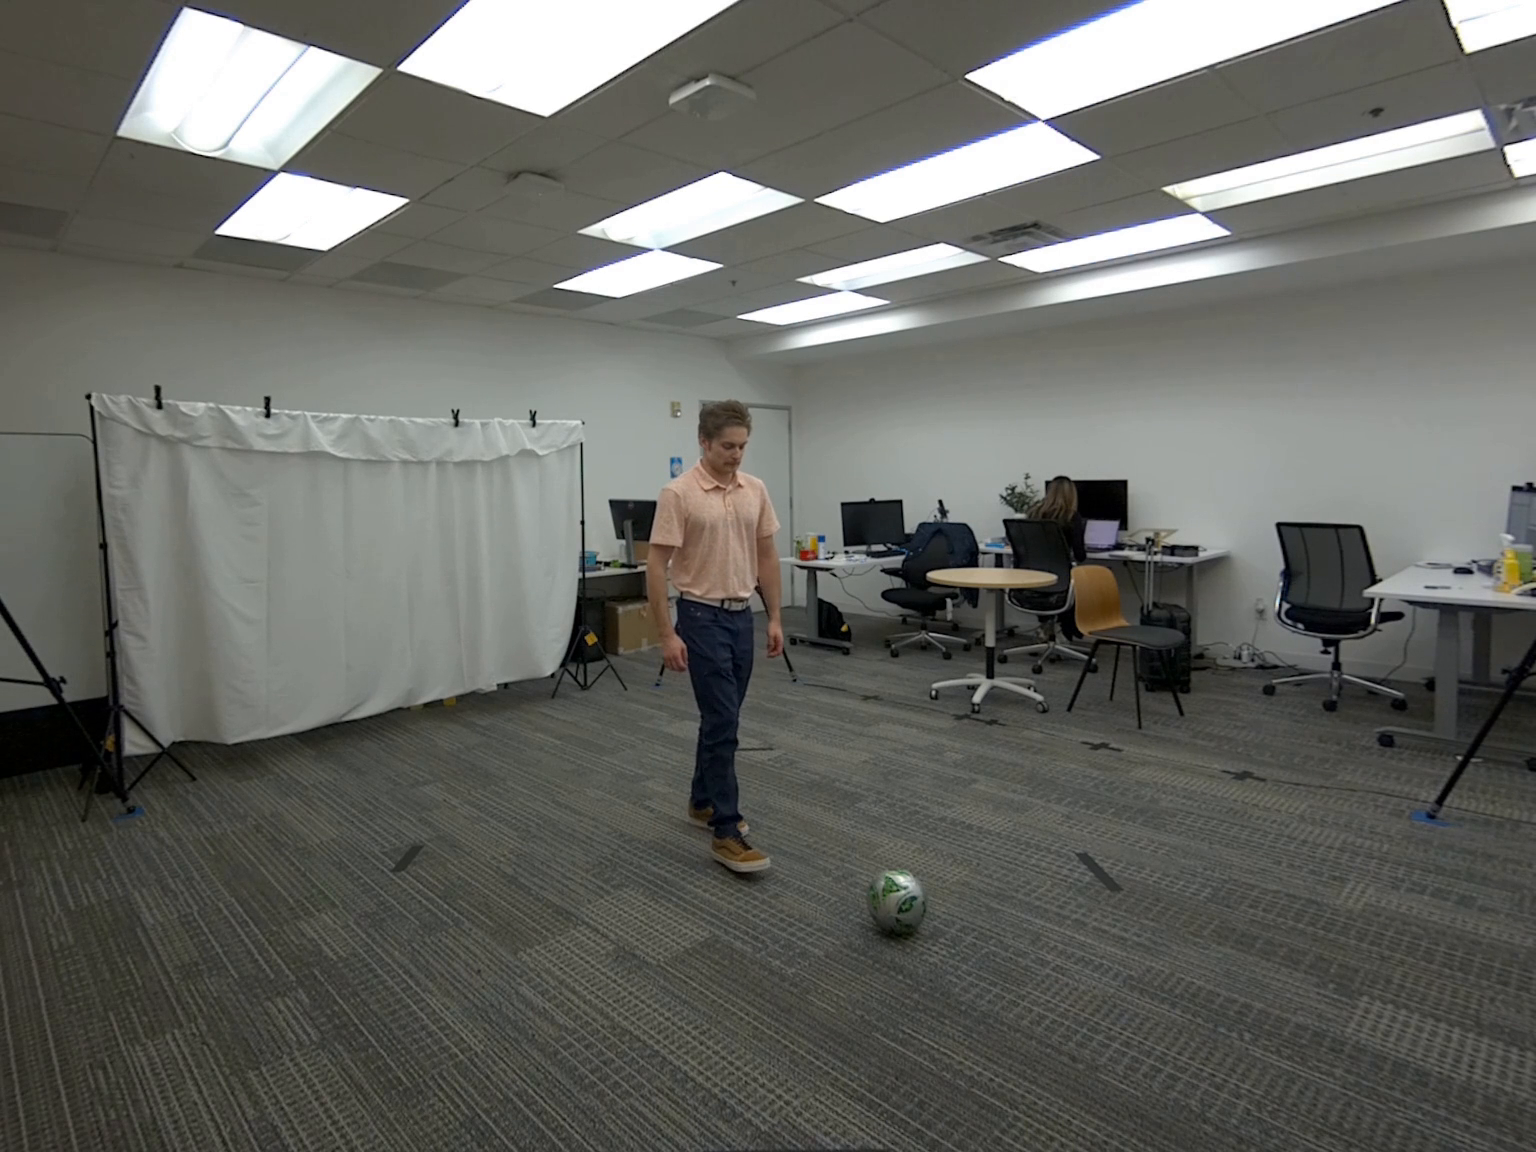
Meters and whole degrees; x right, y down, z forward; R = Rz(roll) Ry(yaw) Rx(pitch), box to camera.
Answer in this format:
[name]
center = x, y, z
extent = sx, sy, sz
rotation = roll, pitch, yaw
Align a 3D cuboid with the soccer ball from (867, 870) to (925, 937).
[soccer ball]
center = 0.403, 1.001, 2.631
extent = 0.187, 0.187, 0.188
rotation = -1, 5, -2
